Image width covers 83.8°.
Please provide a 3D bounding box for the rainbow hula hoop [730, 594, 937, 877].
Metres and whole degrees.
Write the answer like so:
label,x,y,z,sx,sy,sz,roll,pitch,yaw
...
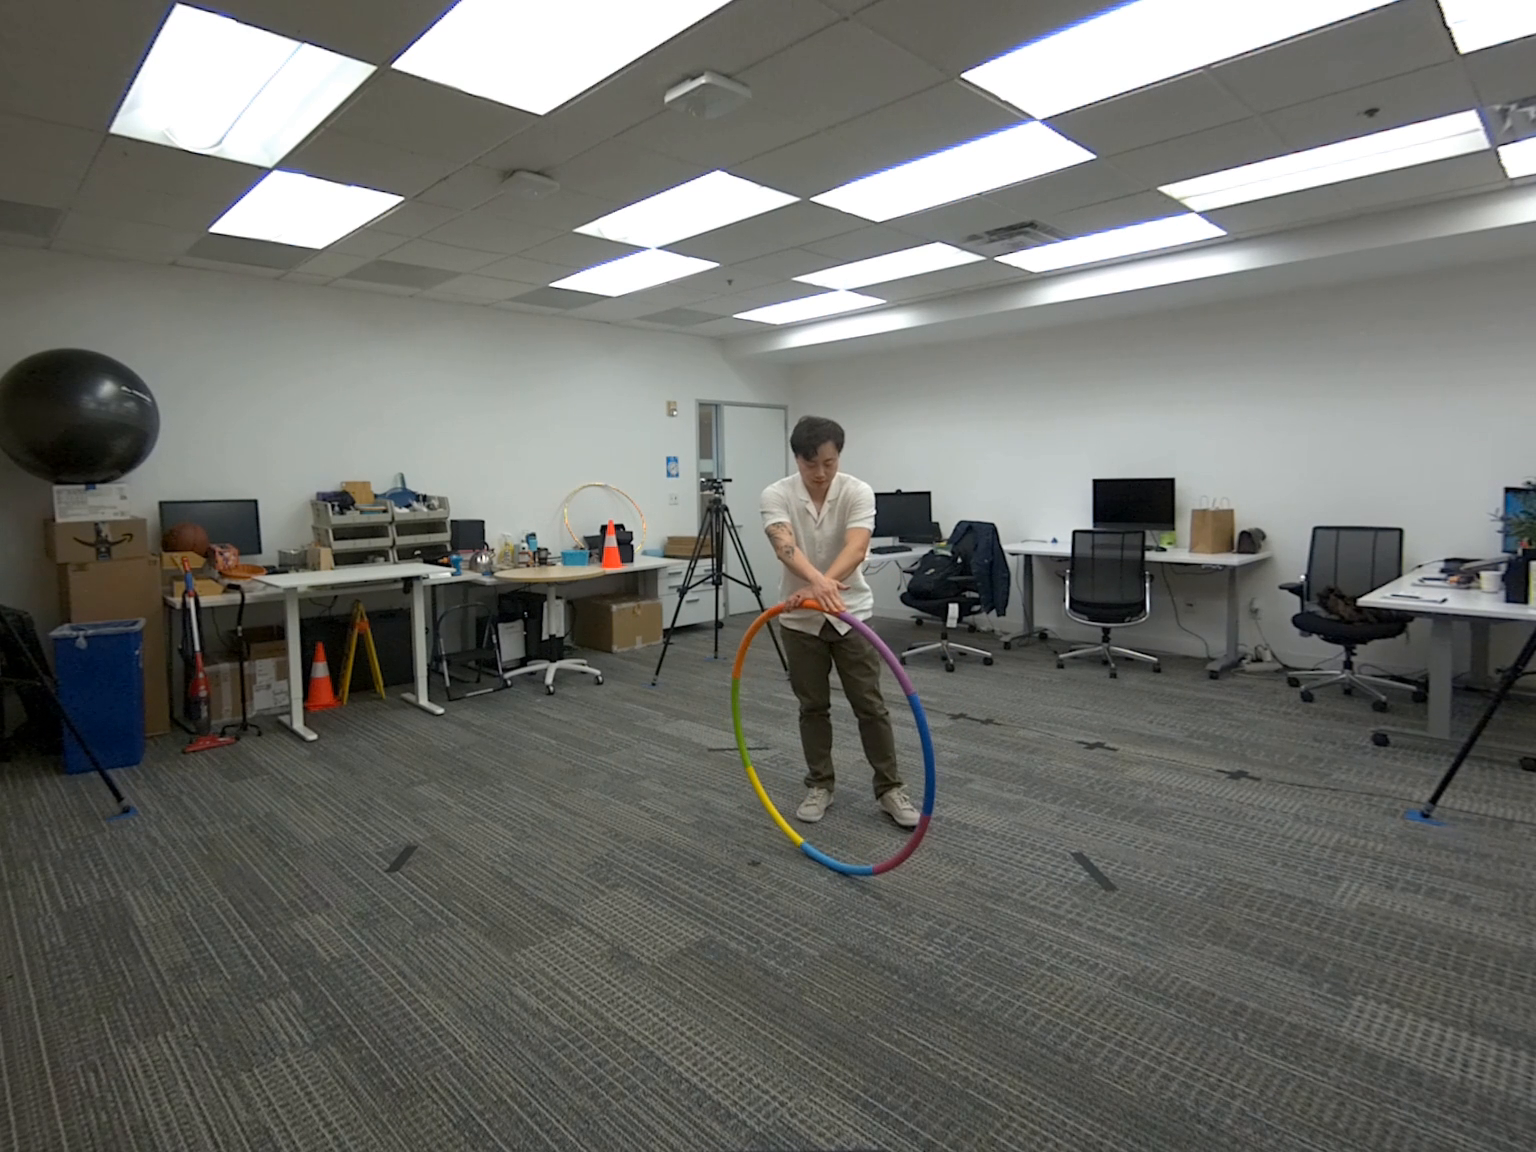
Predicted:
label,x,y,z,sx,sy,sz,roll,pitch,yaw
rainbow hula hoop,0.194,0.567,3.030,0.035,0.973,1.008,-8,8,-38
